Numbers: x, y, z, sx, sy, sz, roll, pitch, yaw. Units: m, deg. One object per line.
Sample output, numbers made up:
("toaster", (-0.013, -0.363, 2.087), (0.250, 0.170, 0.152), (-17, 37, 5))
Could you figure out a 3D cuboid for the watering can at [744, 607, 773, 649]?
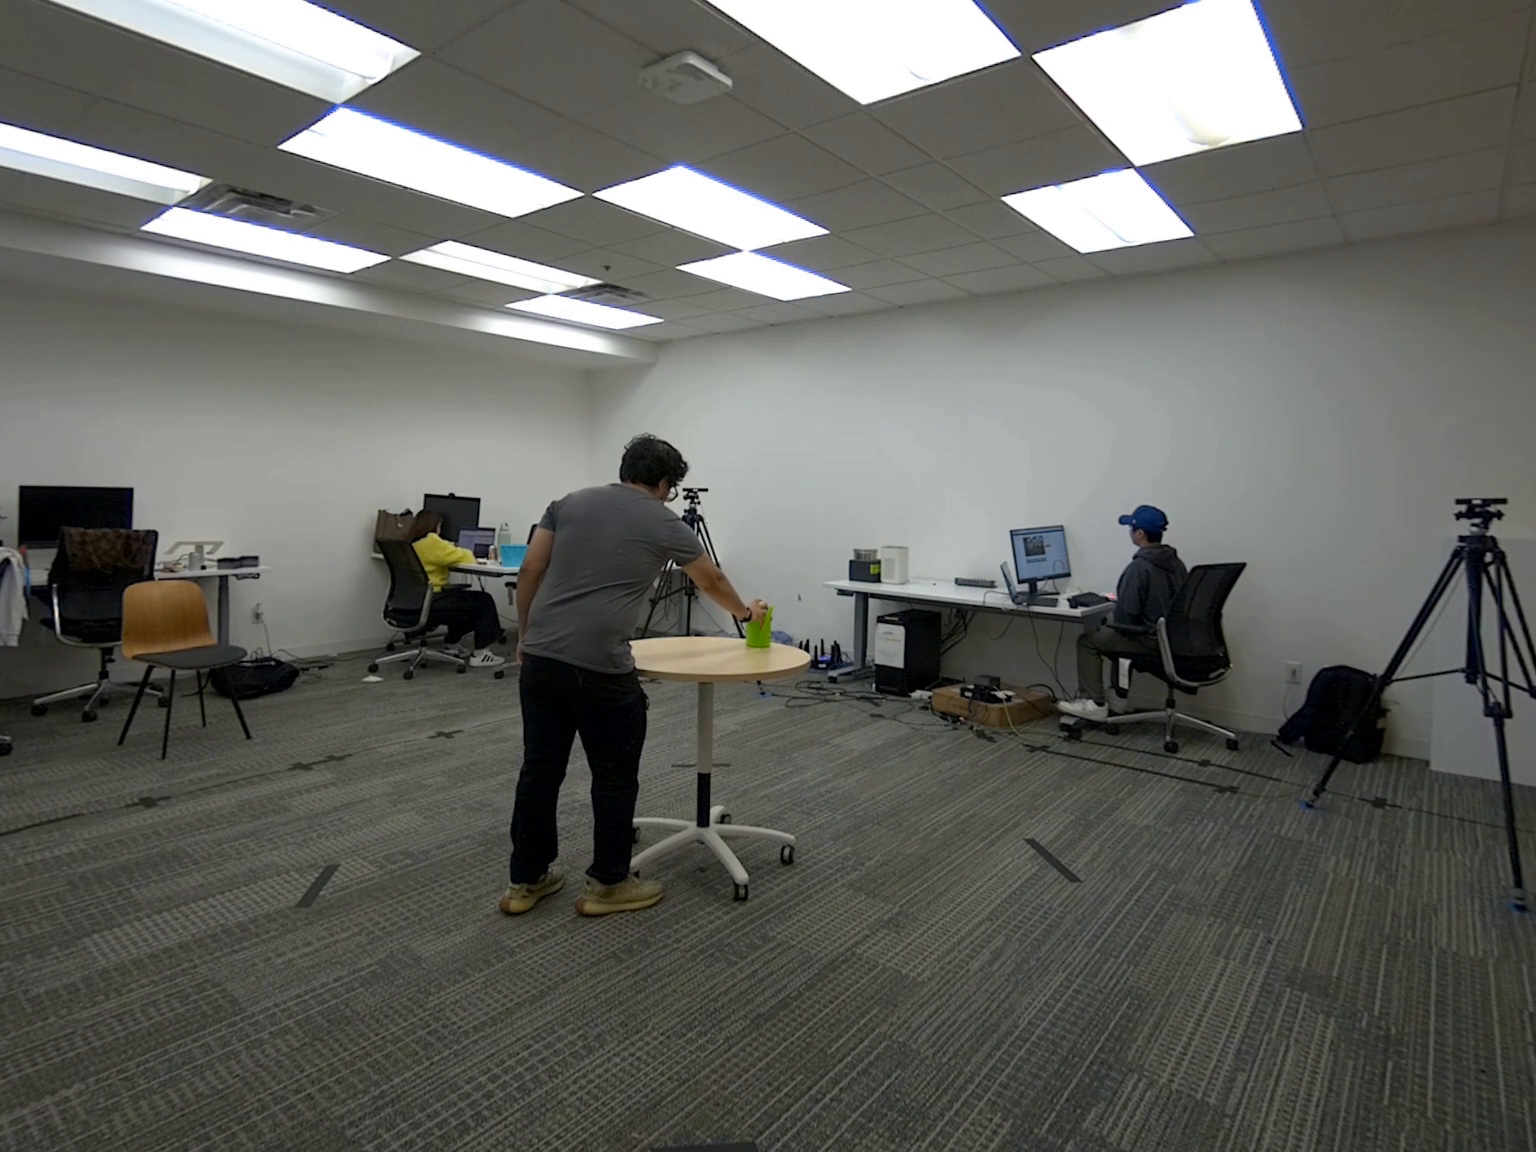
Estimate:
("watering can", (-0.050, 0.186, 3.306), (0.098, 0.177, 0.279), (1, 1, -3))
